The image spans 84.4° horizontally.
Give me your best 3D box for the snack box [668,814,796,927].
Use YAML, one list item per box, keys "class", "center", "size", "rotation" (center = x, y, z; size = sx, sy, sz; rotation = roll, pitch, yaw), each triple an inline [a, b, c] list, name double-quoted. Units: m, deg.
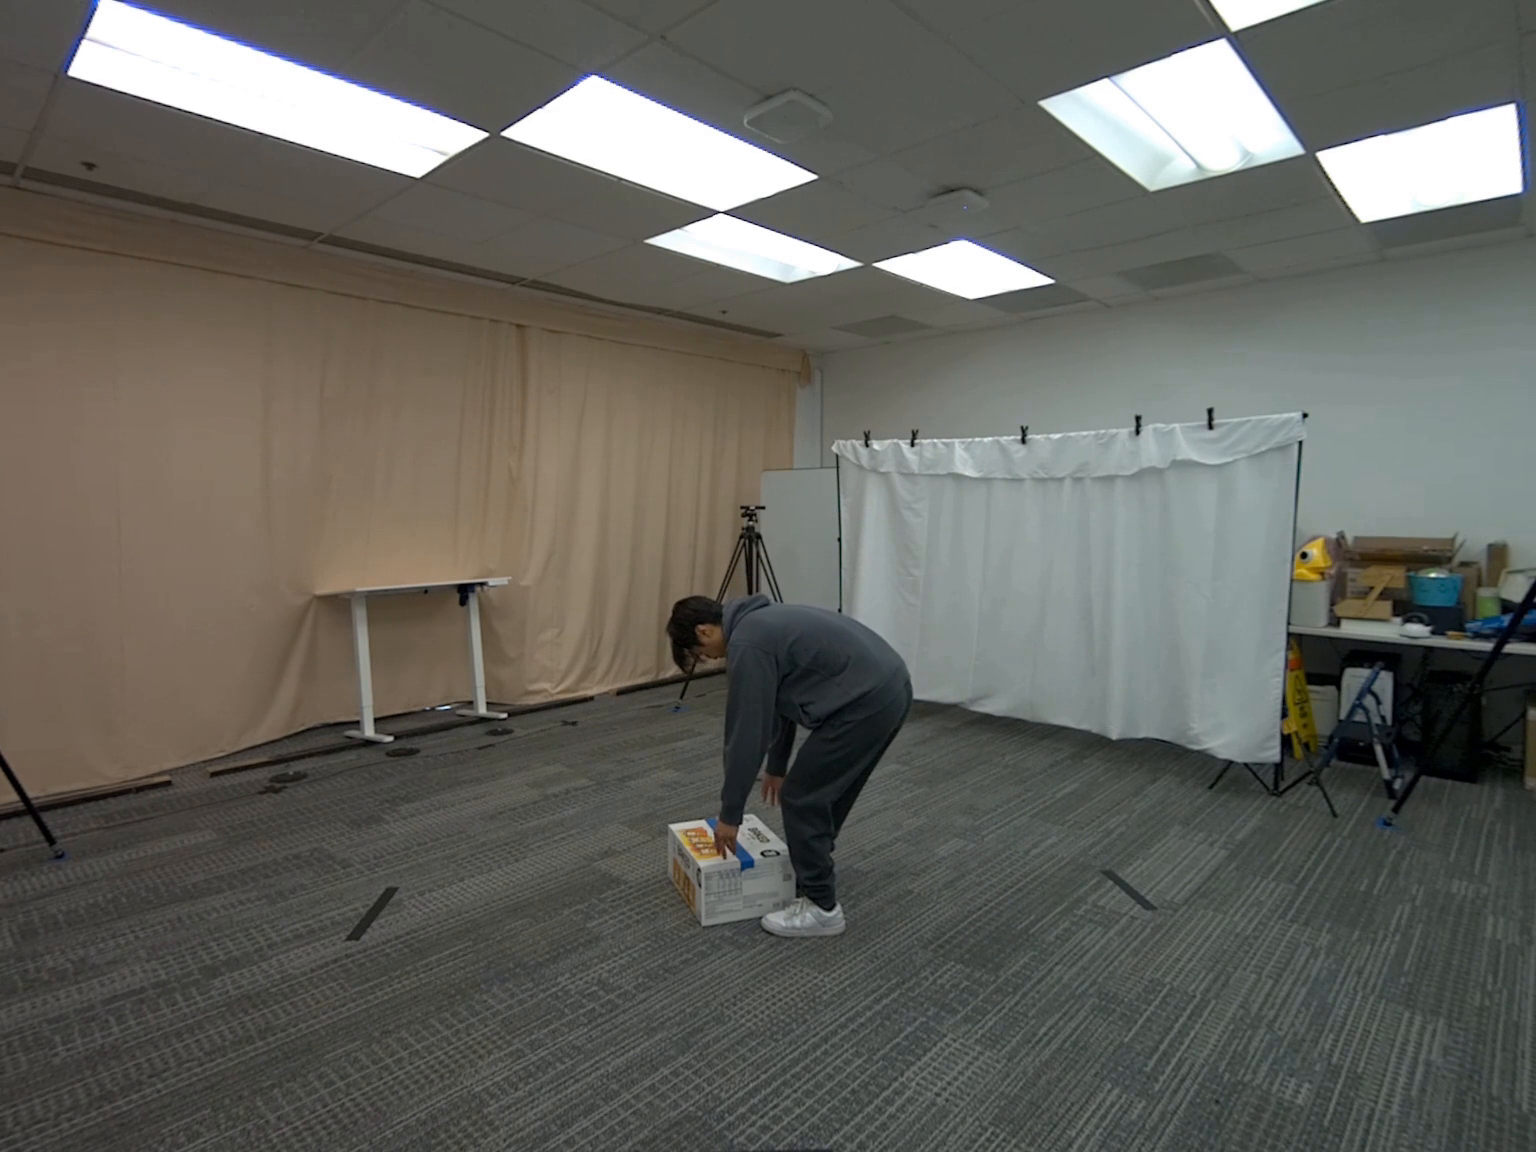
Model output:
- class: "snack box"
  center: [-0.136, 1.040, 3.013]
  size: [0.333, 0.205, 0.414]
  rotation: [-2, 5, -21]
